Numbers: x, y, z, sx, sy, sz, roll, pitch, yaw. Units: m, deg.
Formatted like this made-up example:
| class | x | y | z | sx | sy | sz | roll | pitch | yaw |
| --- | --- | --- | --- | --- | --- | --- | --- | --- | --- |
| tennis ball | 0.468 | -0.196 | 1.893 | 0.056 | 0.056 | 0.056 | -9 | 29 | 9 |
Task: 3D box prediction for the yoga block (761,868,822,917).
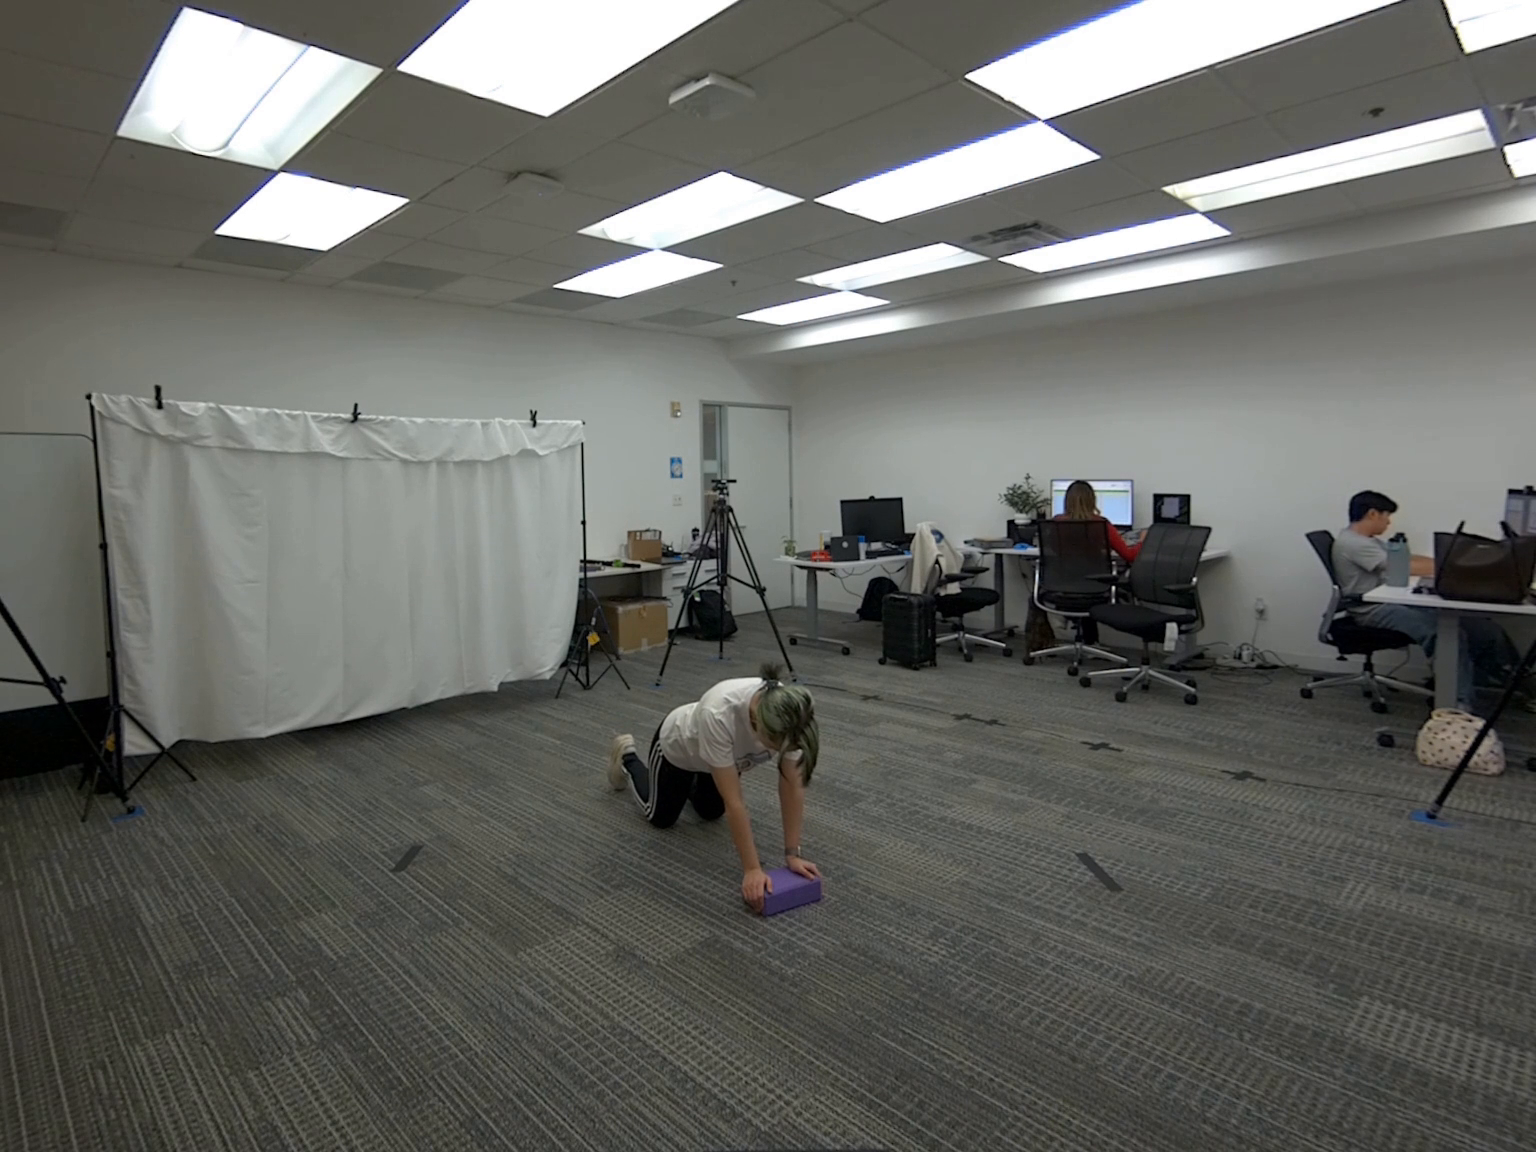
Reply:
| class | x | y | z | sx | sy | sz | roll | pitch | yaw |
| --- | --- | --- | --- | --- | --- | --- | --- | --- | --- |
| yoga block | 0.052 | 1.038 | 2.838 | 0.224 | 0.076 | 0.153 | -5 | 8 | -32 |
